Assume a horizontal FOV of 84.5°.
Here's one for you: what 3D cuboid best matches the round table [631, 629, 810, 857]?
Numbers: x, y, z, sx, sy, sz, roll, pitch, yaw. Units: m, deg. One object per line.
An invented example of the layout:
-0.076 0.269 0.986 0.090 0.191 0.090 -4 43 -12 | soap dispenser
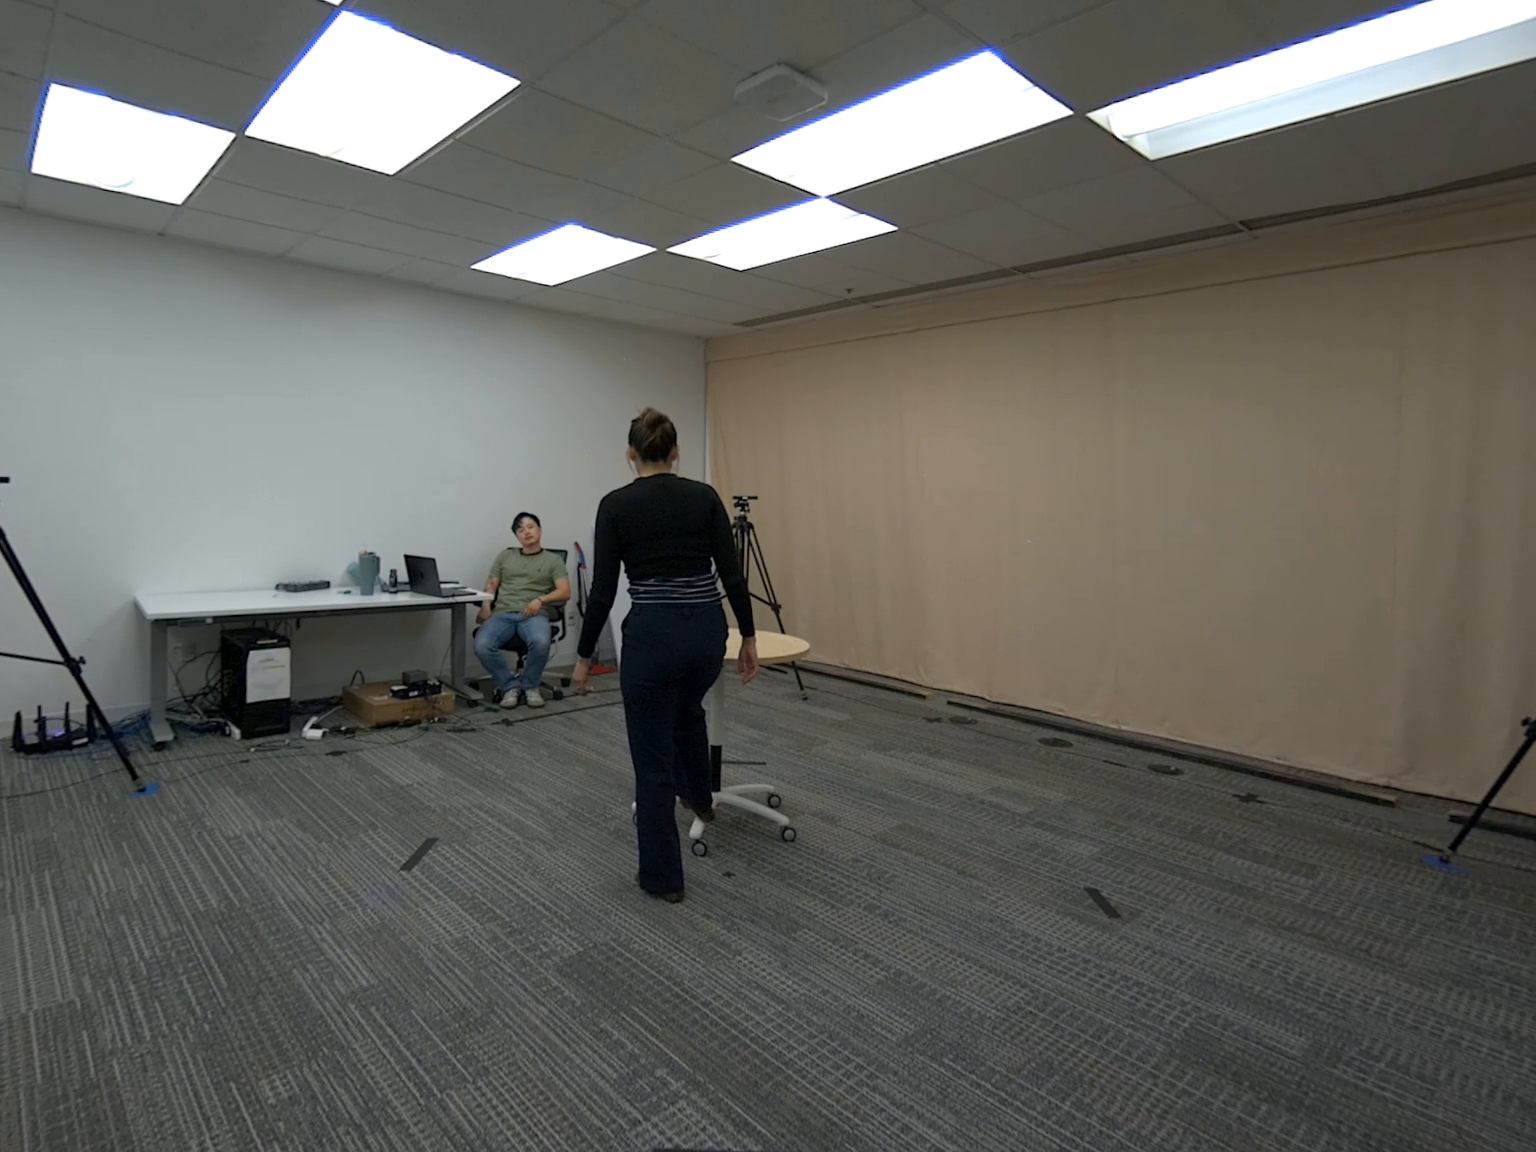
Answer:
-0.223 0.674 3.586 0.763 0.792 0.766 2 4 -1 | round table
